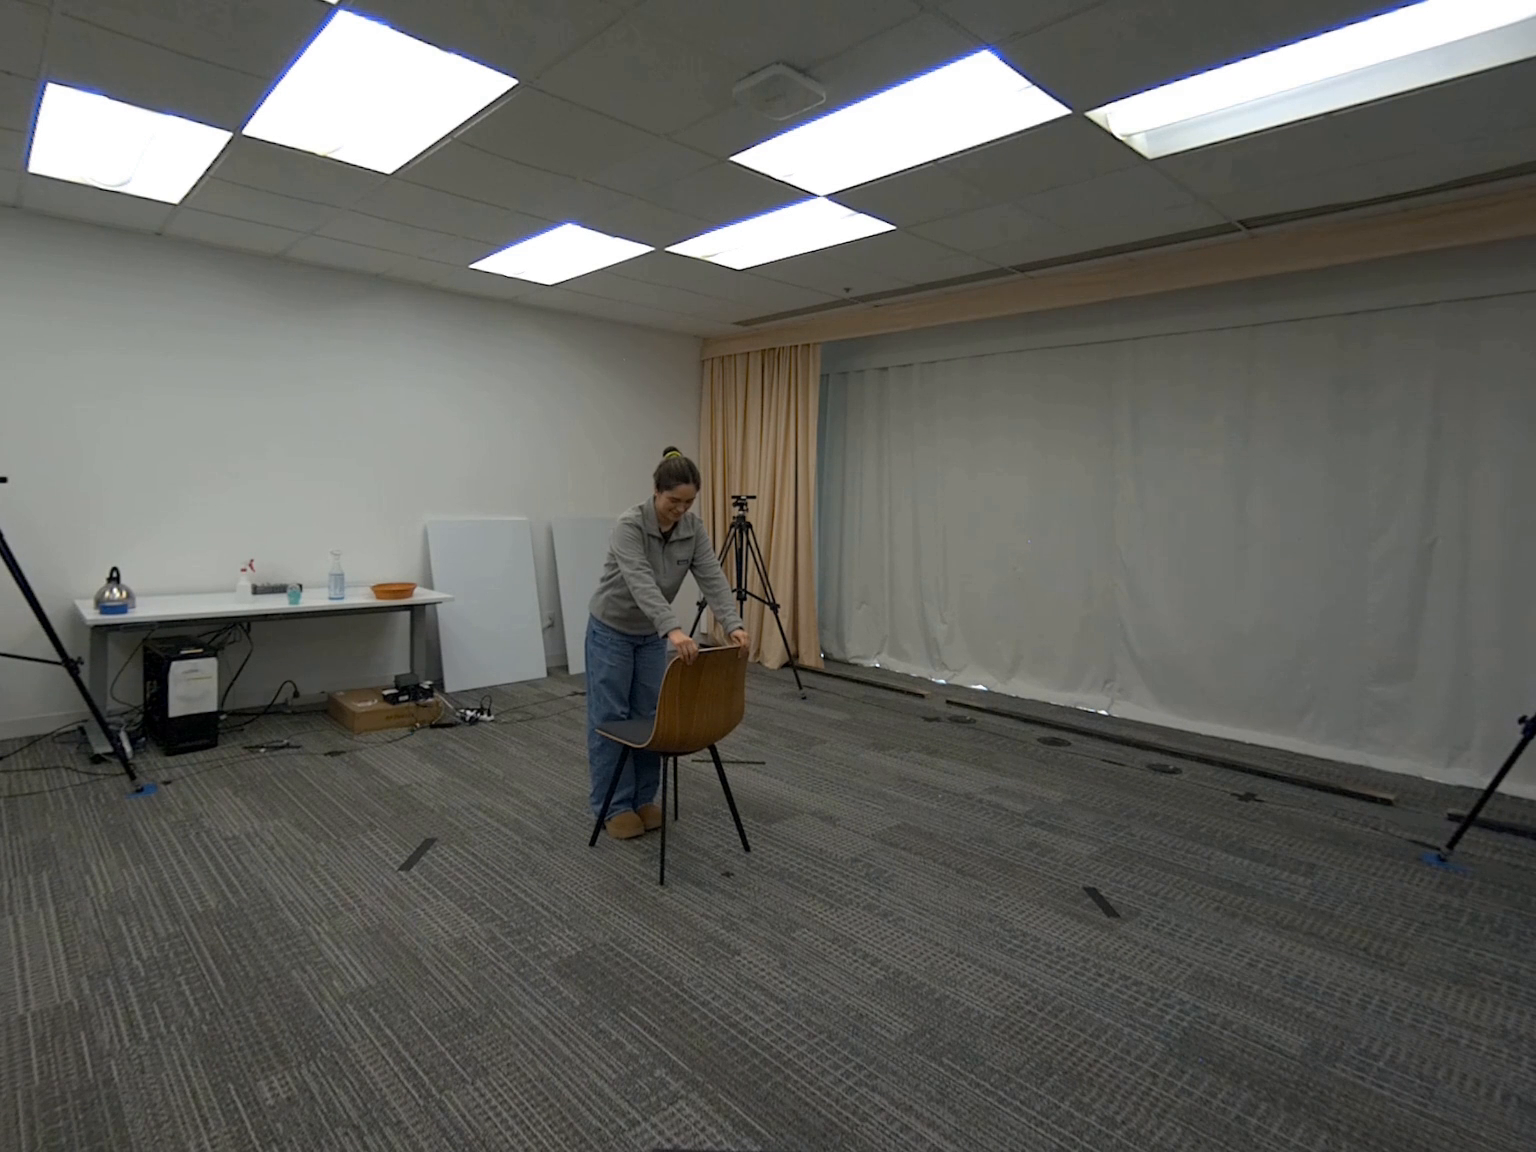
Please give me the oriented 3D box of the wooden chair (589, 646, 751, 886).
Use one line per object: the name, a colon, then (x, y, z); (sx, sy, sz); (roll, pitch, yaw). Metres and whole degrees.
wooden chair: (-0.384, 0.653, 3.285); (0.467, 0.874, 0.537); (-2, 9, -45)
